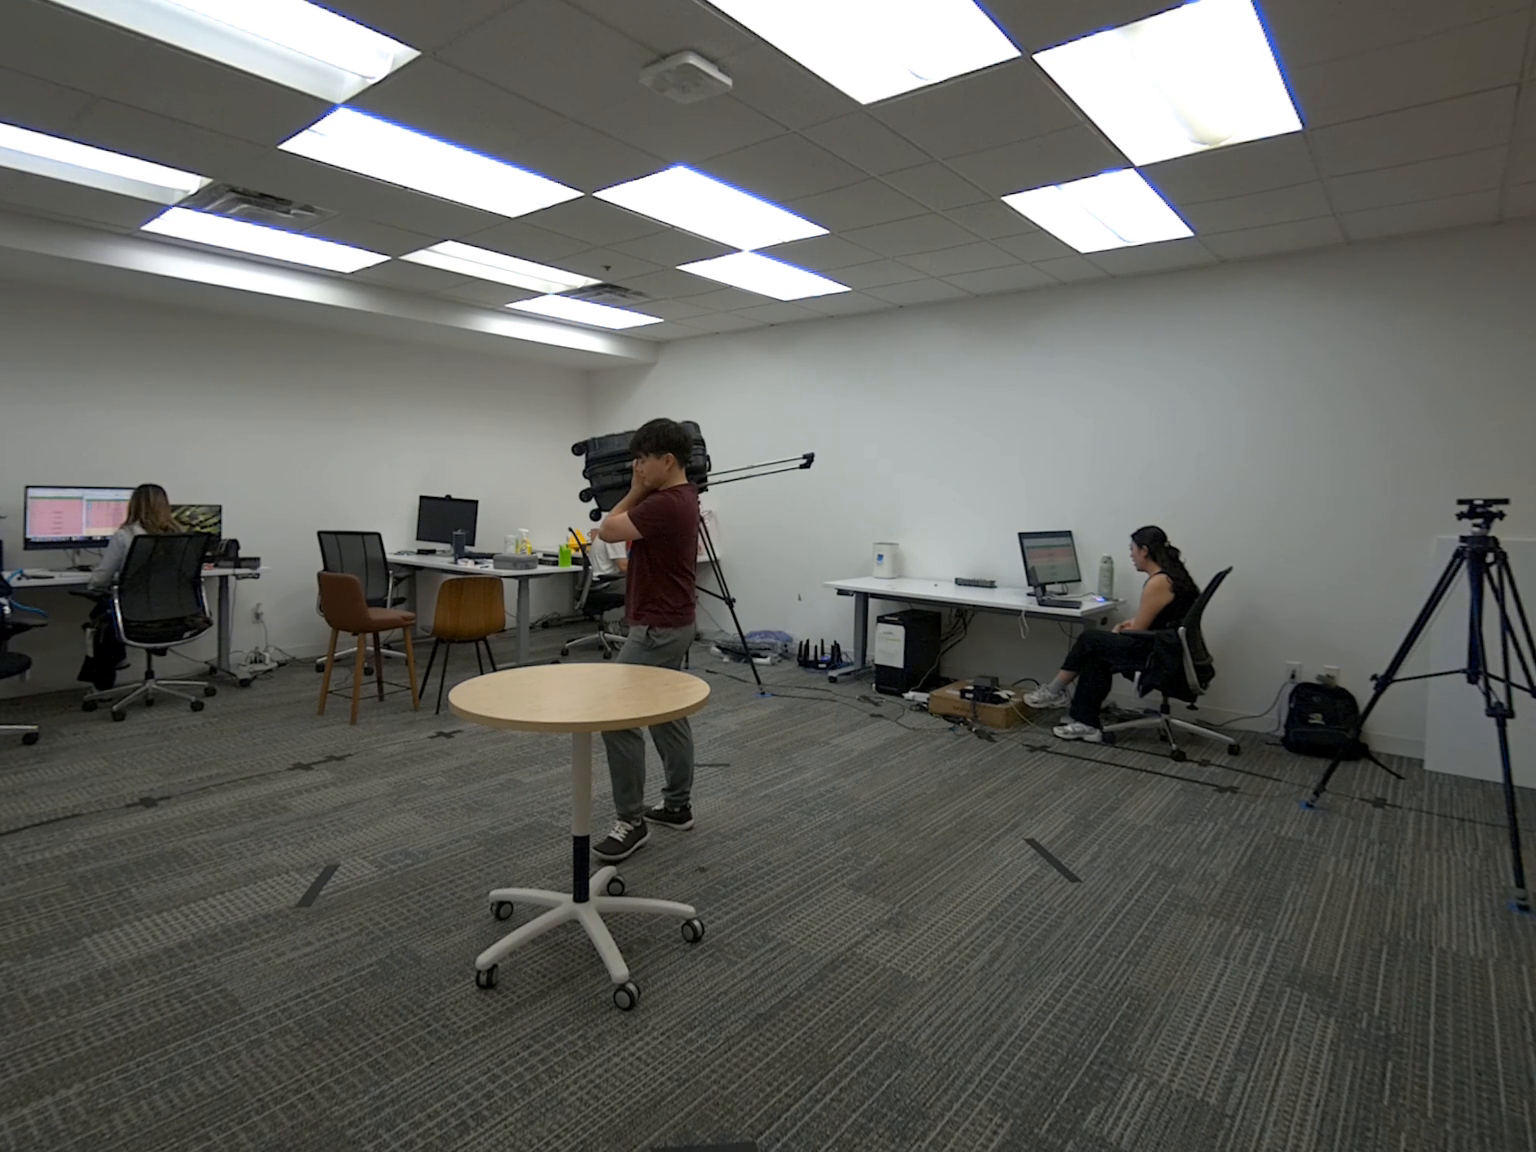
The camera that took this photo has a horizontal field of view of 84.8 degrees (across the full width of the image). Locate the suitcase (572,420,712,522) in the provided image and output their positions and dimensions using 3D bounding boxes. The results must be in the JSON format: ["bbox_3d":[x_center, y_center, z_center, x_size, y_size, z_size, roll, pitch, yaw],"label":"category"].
[{"bbox_3d":[-0.335,-0.508,3.605,0.976,0.261,0.379,-12,-11,-3],"label":"suitcase"}]
